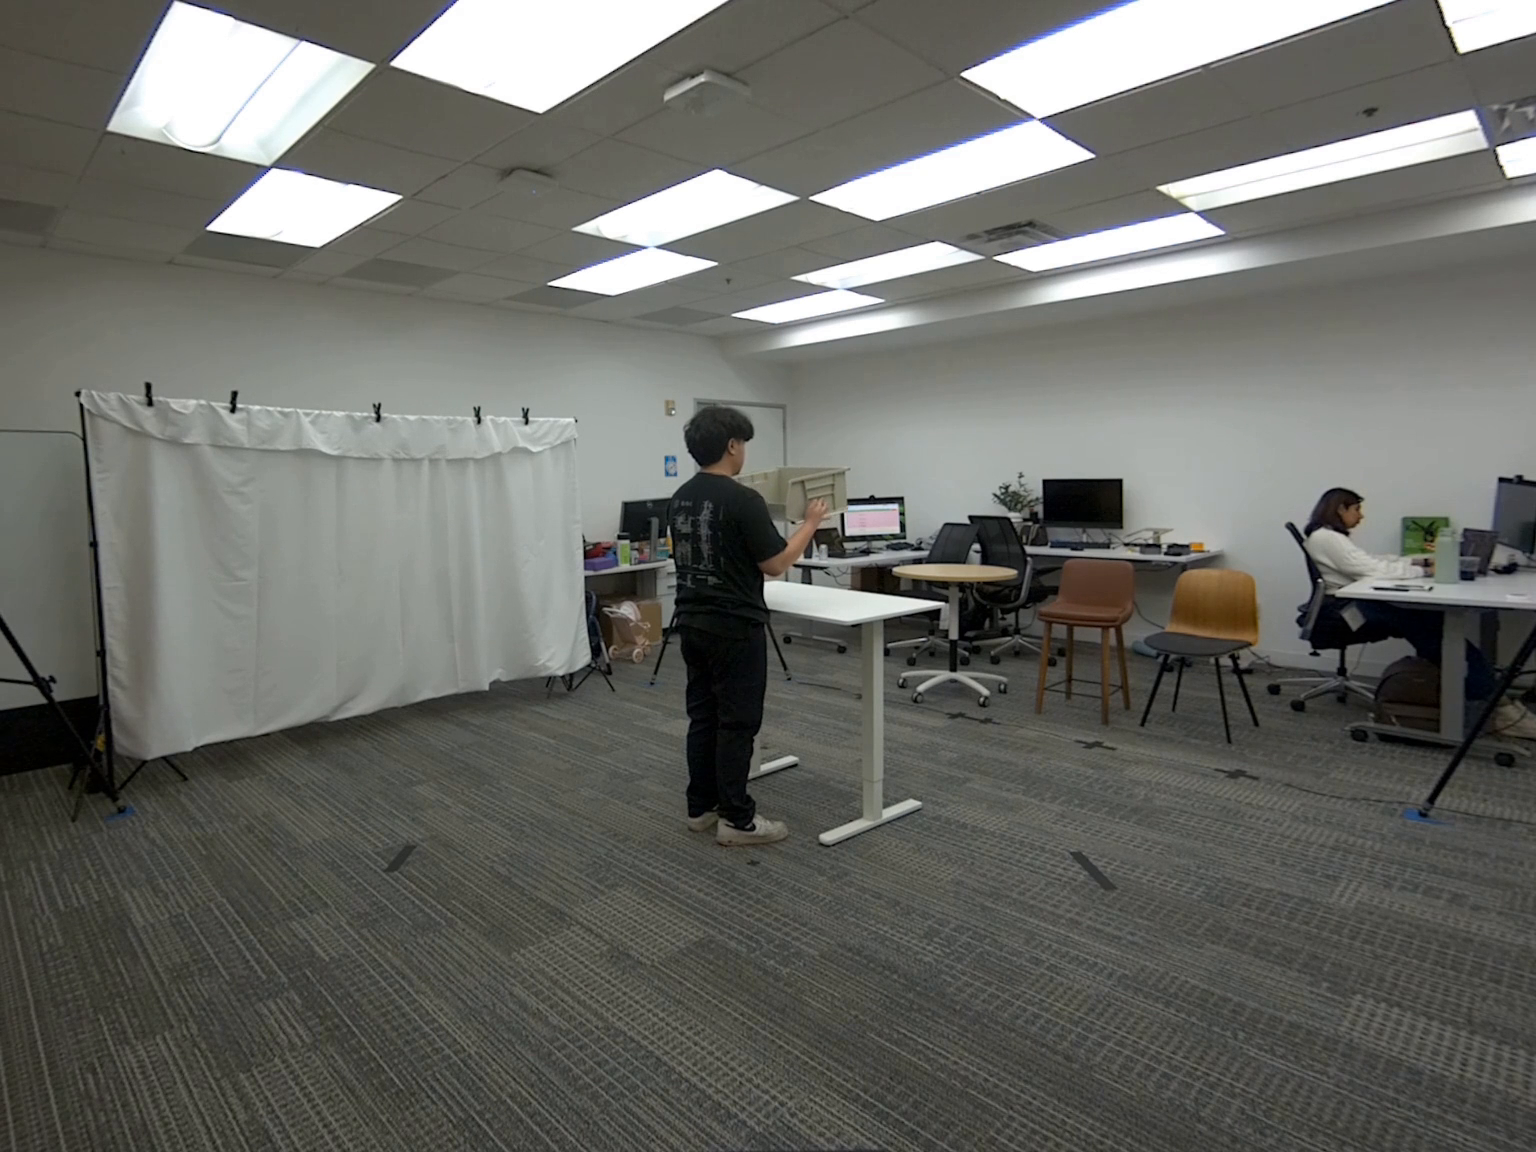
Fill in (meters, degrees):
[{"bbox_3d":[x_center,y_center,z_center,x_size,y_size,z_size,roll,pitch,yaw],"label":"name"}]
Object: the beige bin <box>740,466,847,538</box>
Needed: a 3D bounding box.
[{"bbox_3d":[0.062,-0.331,3.532,0.369,0.187,0.436,-15,15,-40],"label":"beige bin"}]
